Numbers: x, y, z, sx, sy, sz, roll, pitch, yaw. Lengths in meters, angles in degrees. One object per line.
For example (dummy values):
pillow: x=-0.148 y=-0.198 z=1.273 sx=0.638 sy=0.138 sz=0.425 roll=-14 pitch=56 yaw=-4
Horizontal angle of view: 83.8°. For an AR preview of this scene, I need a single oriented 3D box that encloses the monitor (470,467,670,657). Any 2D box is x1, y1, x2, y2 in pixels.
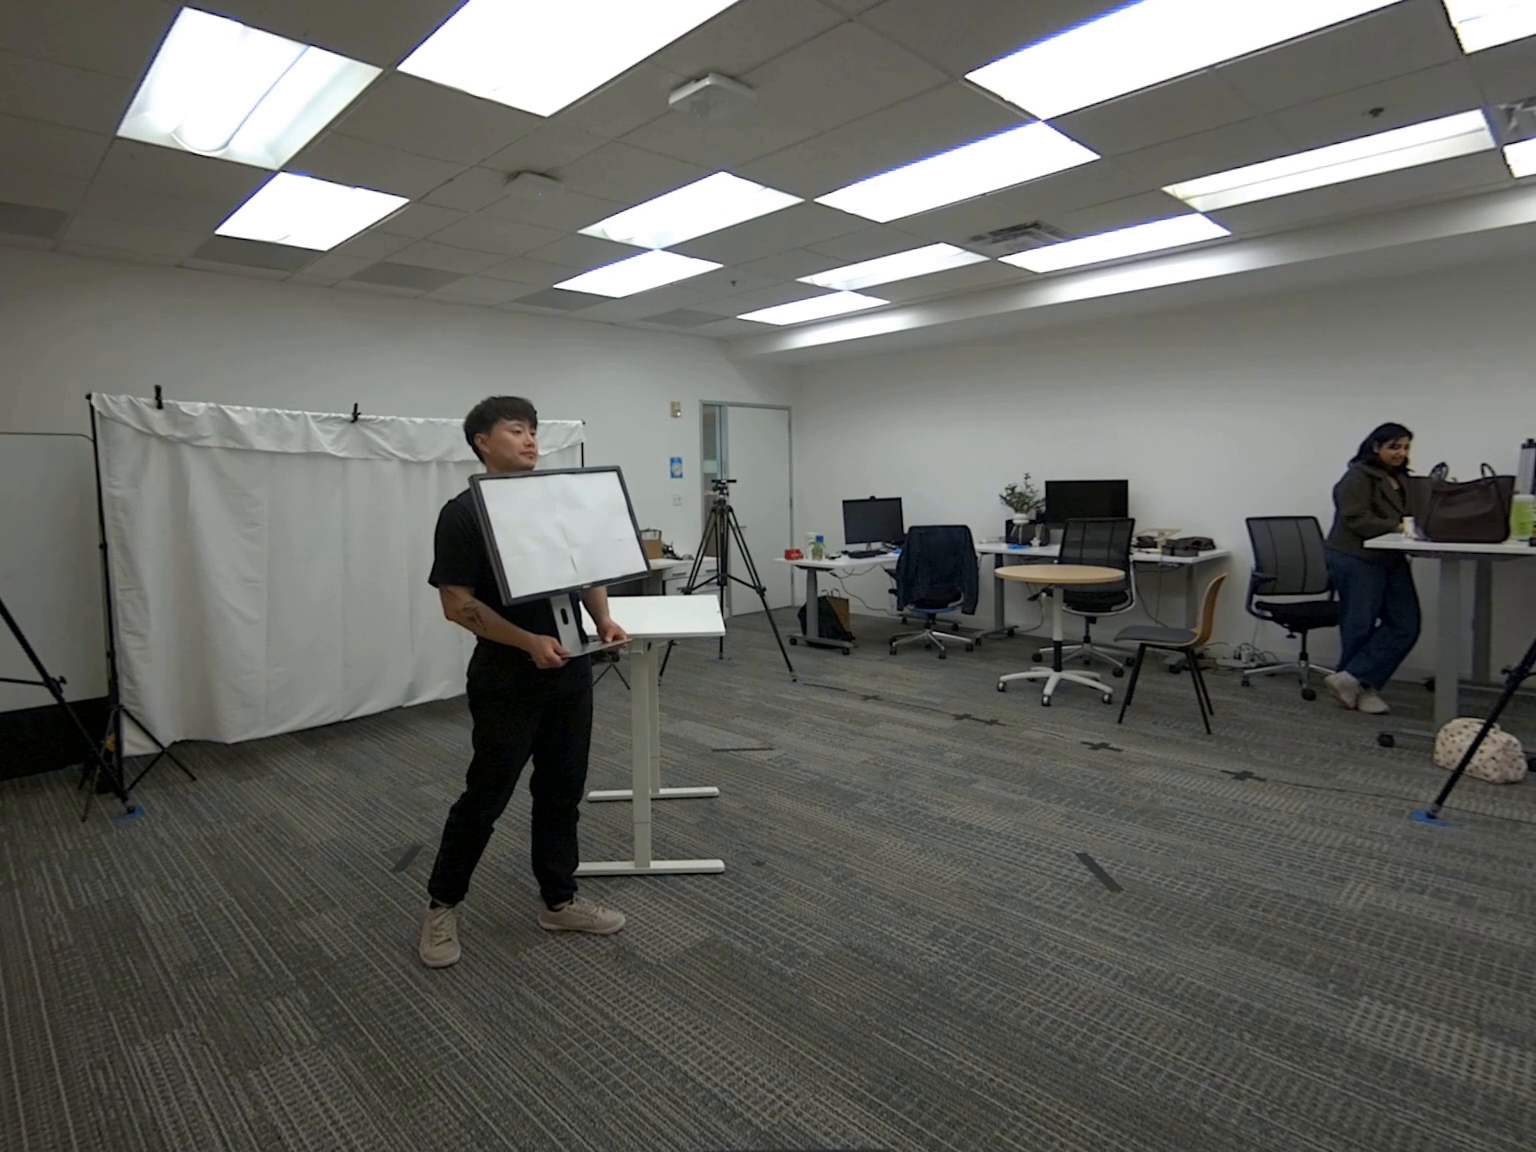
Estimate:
monitor: x=-0.588 y=-0.045 z=2.489 sx=0.192 sy=0.521 sz=0.527 roll=-7 pitch=3 yaw=35
